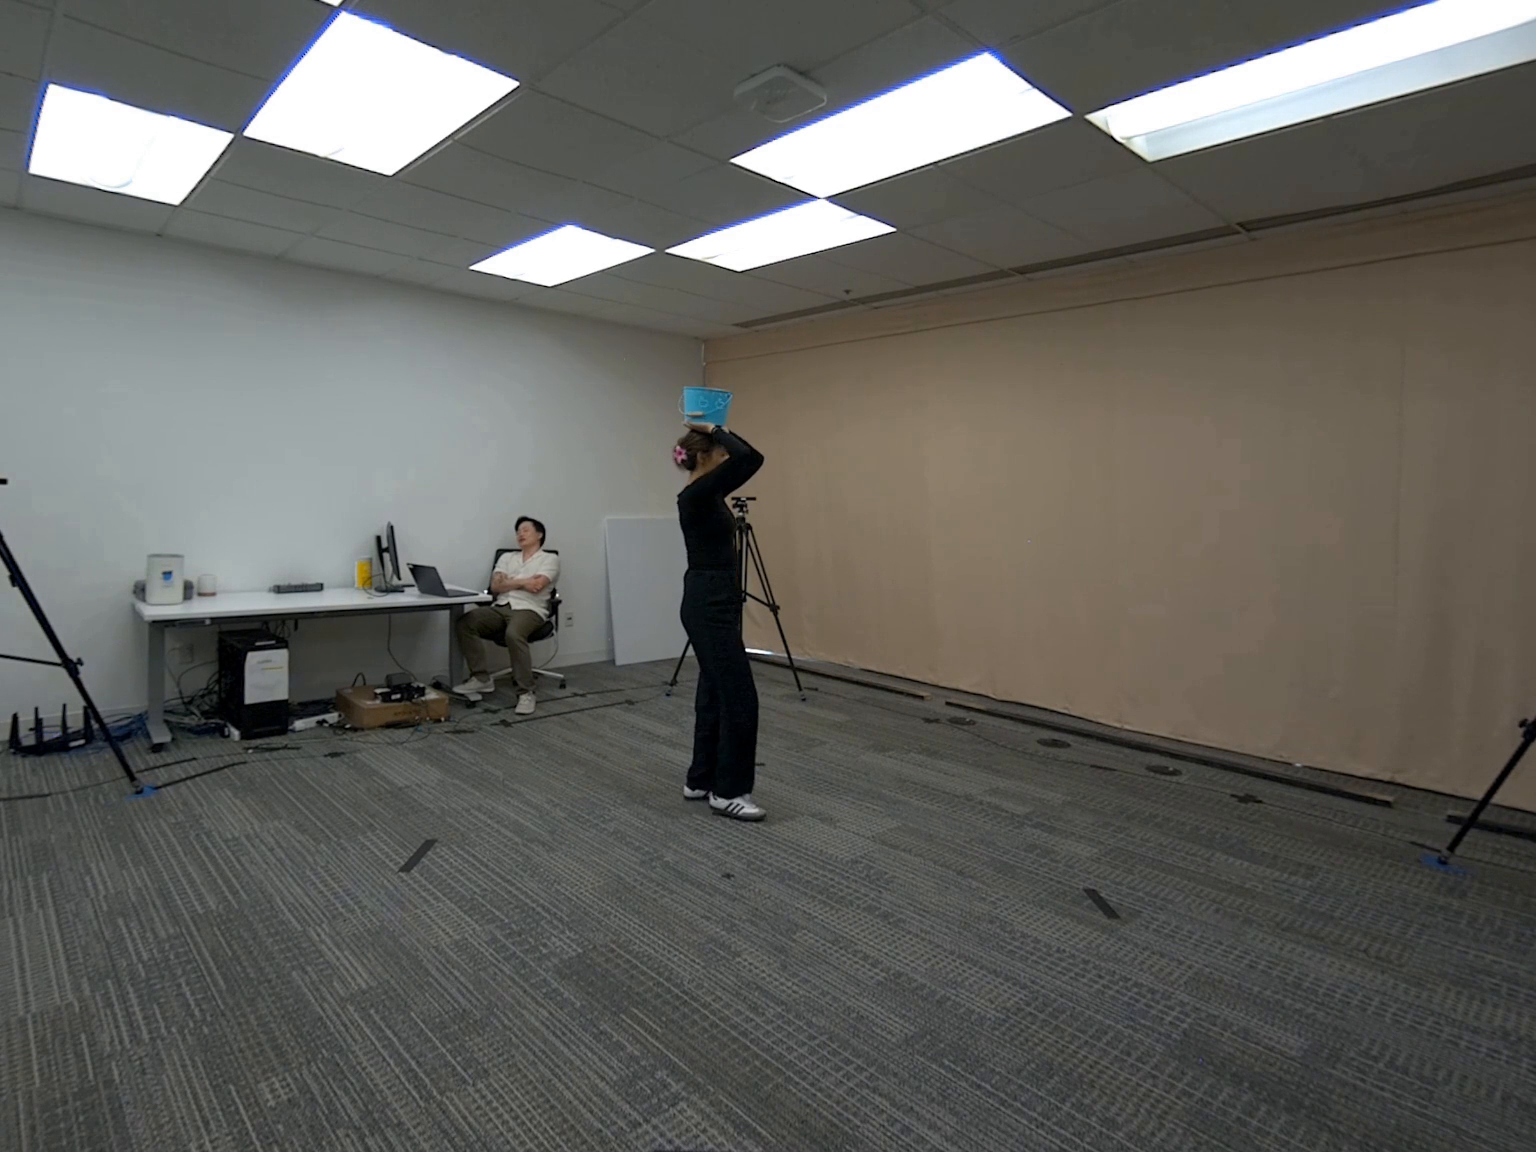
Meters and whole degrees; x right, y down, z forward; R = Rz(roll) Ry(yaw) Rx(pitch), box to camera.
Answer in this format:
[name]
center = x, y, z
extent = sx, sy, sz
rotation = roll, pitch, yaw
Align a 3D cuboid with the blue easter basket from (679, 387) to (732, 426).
[blue easter basket]
center = -0.290, -0.754, 3.773
extent = 0.243, 0.155, 0.244
rotation = 6, 4, -2
